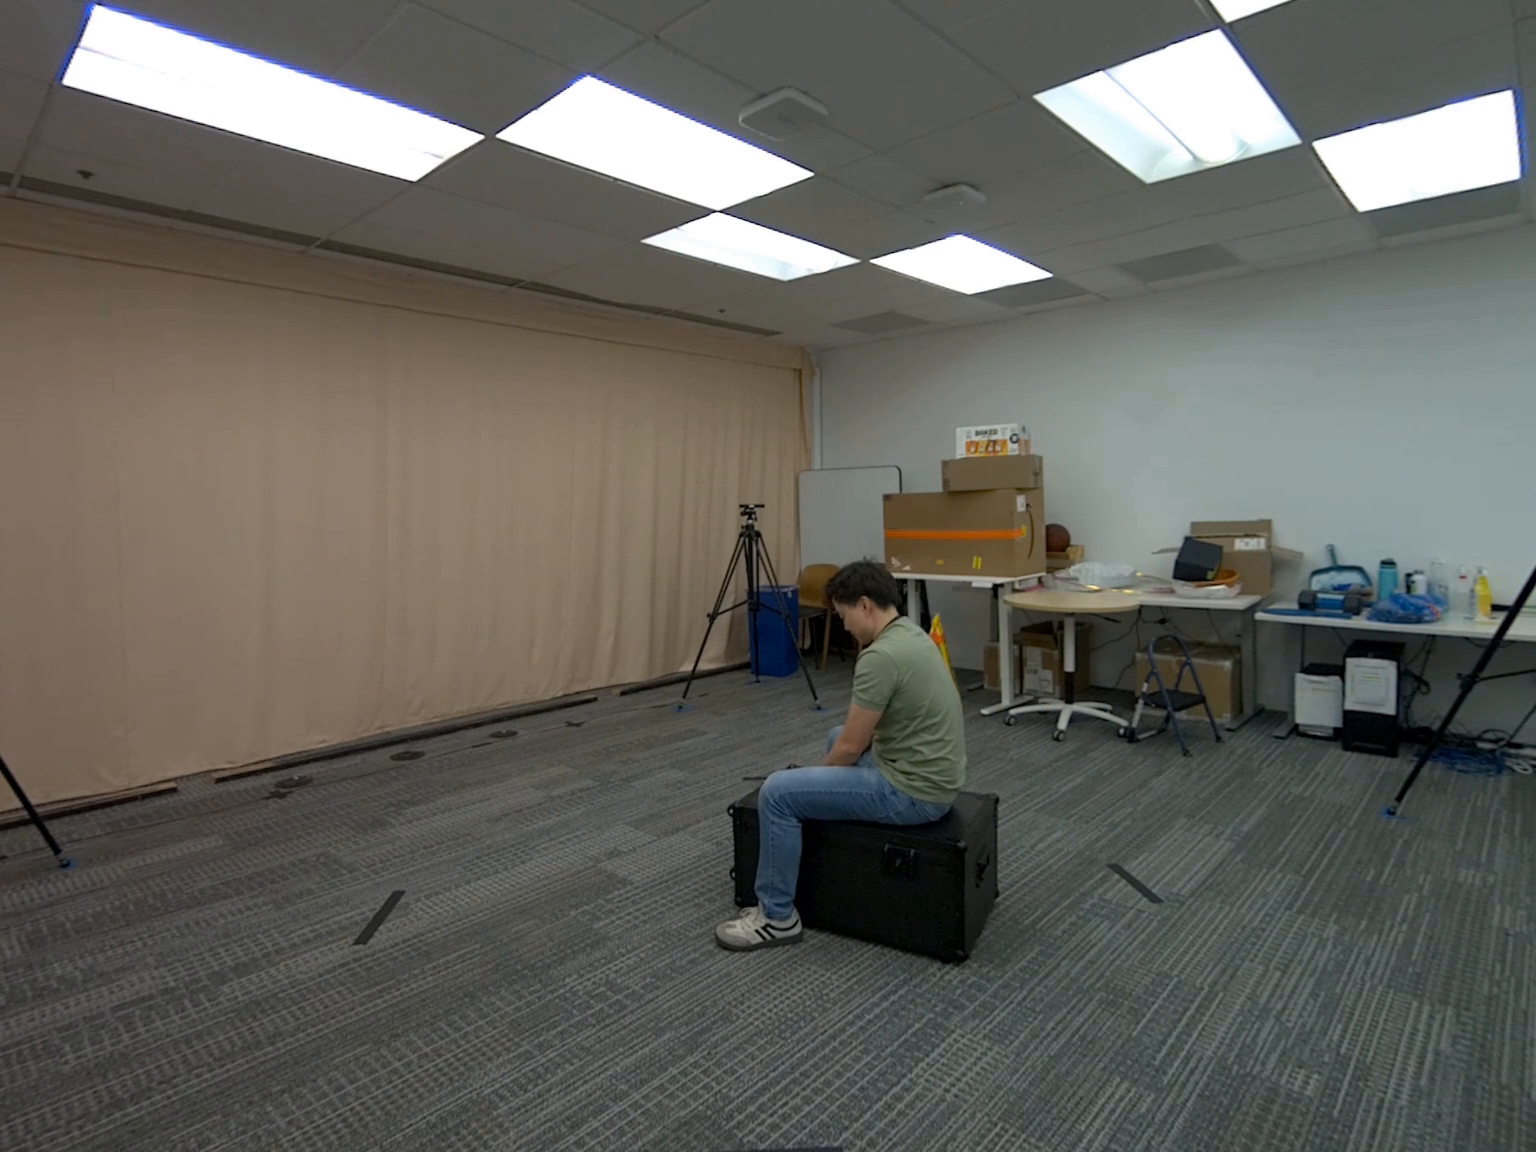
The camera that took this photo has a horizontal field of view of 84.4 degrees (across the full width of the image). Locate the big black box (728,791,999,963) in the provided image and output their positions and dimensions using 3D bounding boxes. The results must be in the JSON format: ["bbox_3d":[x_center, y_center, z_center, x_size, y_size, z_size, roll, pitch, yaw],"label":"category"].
[{"bbox_3d":[0.317,0.953,2.900,0.885,0.395,0.509,3,6,28],"label":"big black box"}]
